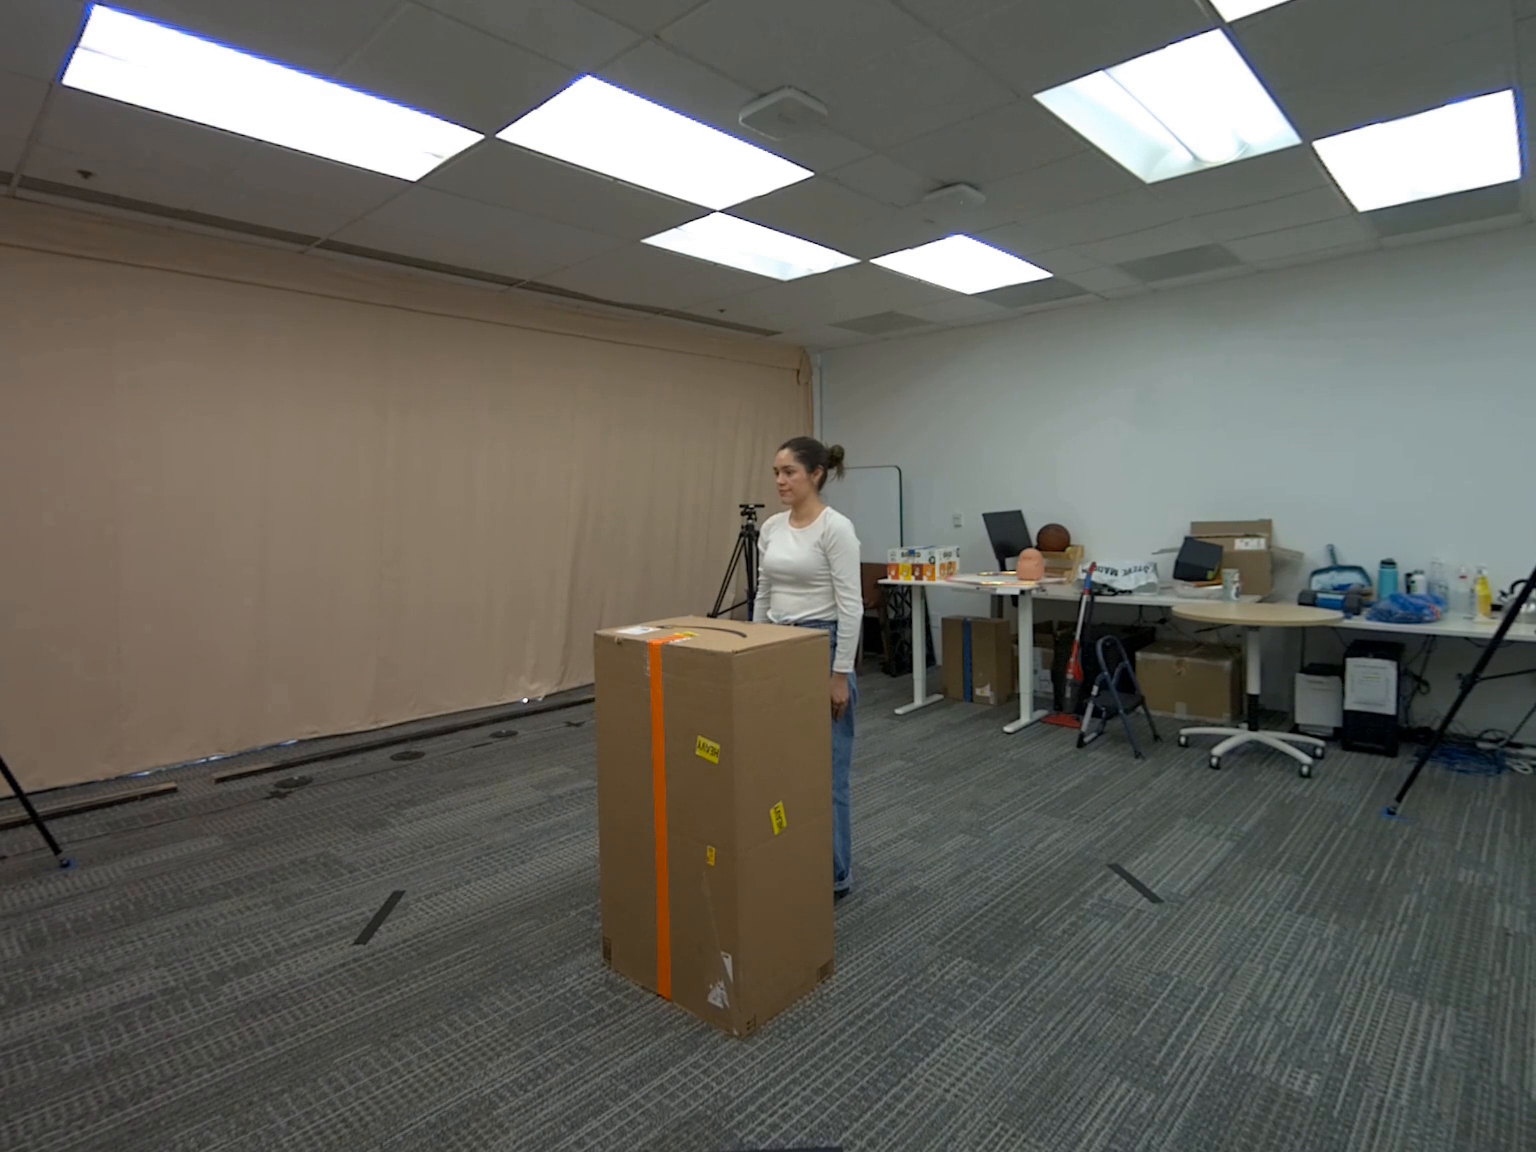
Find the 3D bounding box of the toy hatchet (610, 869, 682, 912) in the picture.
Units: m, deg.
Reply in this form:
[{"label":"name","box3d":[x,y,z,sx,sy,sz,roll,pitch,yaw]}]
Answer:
[{"label":"toy hatchet","box3d":[-0.440,1.132,3.067,0.134,0.029,0.264,-2,2,25]}]
